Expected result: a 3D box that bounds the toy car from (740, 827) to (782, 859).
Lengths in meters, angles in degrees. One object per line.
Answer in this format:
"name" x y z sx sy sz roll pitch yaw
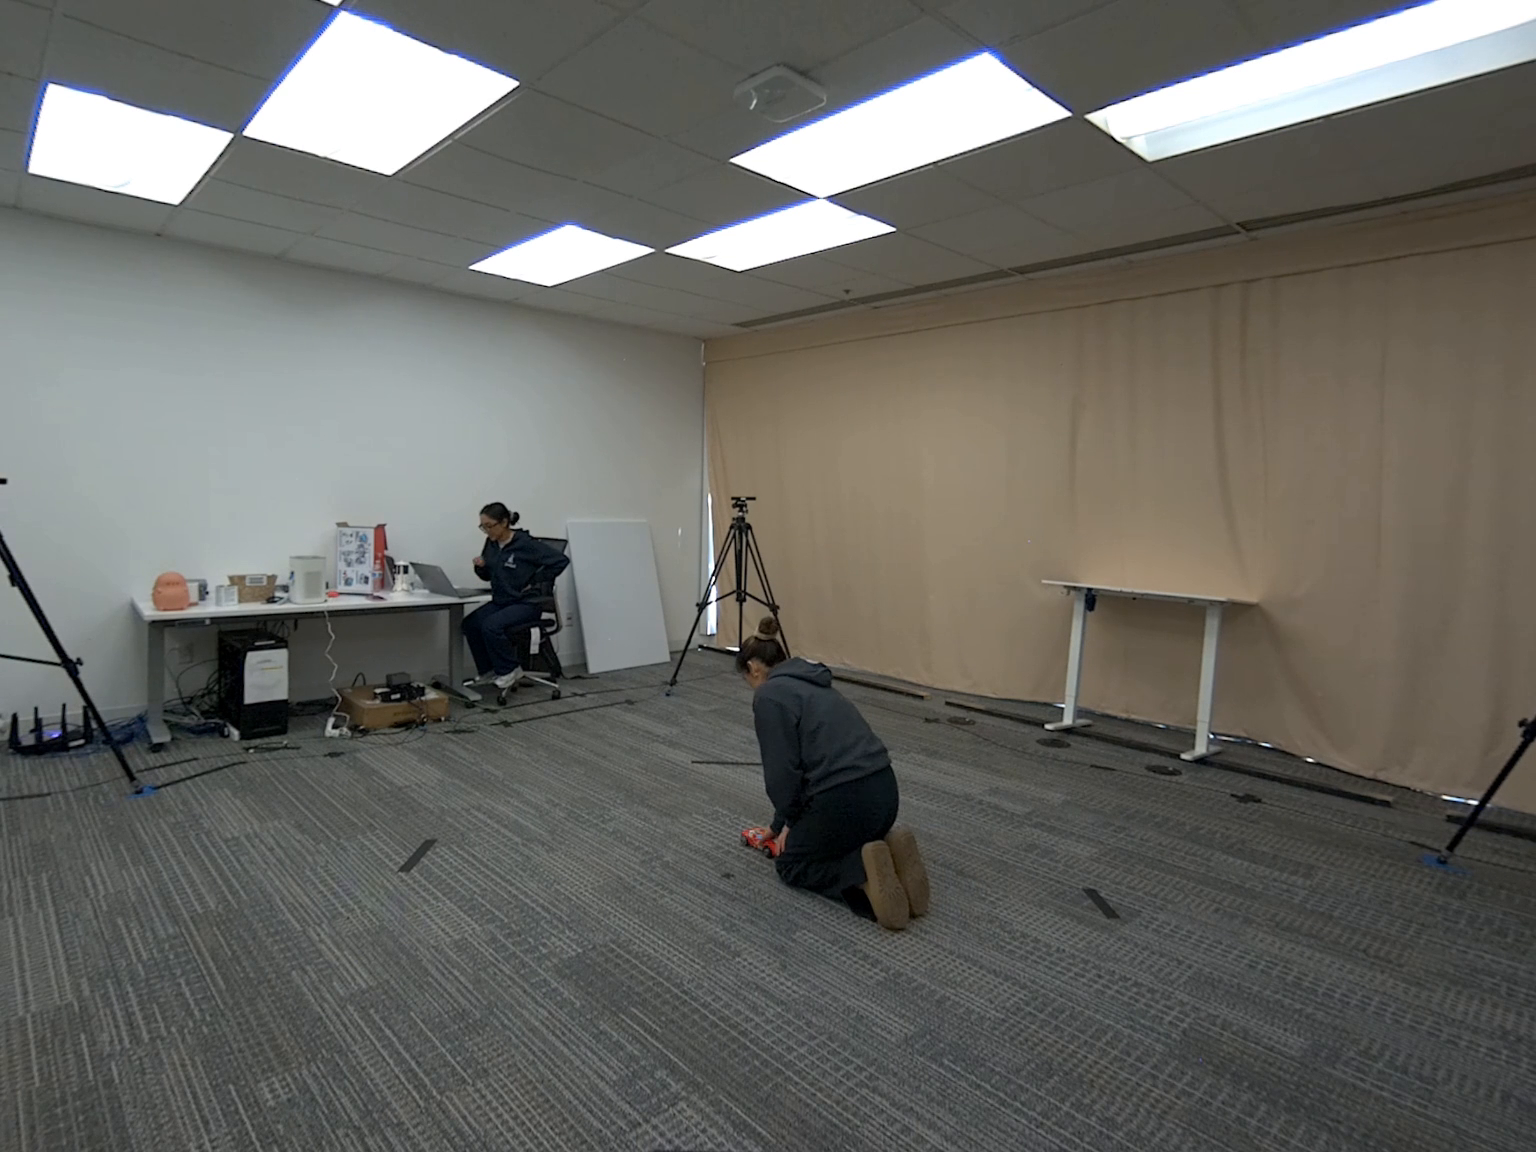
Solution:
"toy car" -0.008 1.055 3.354 0.127 0.083 0.259 -3 -4 -40
